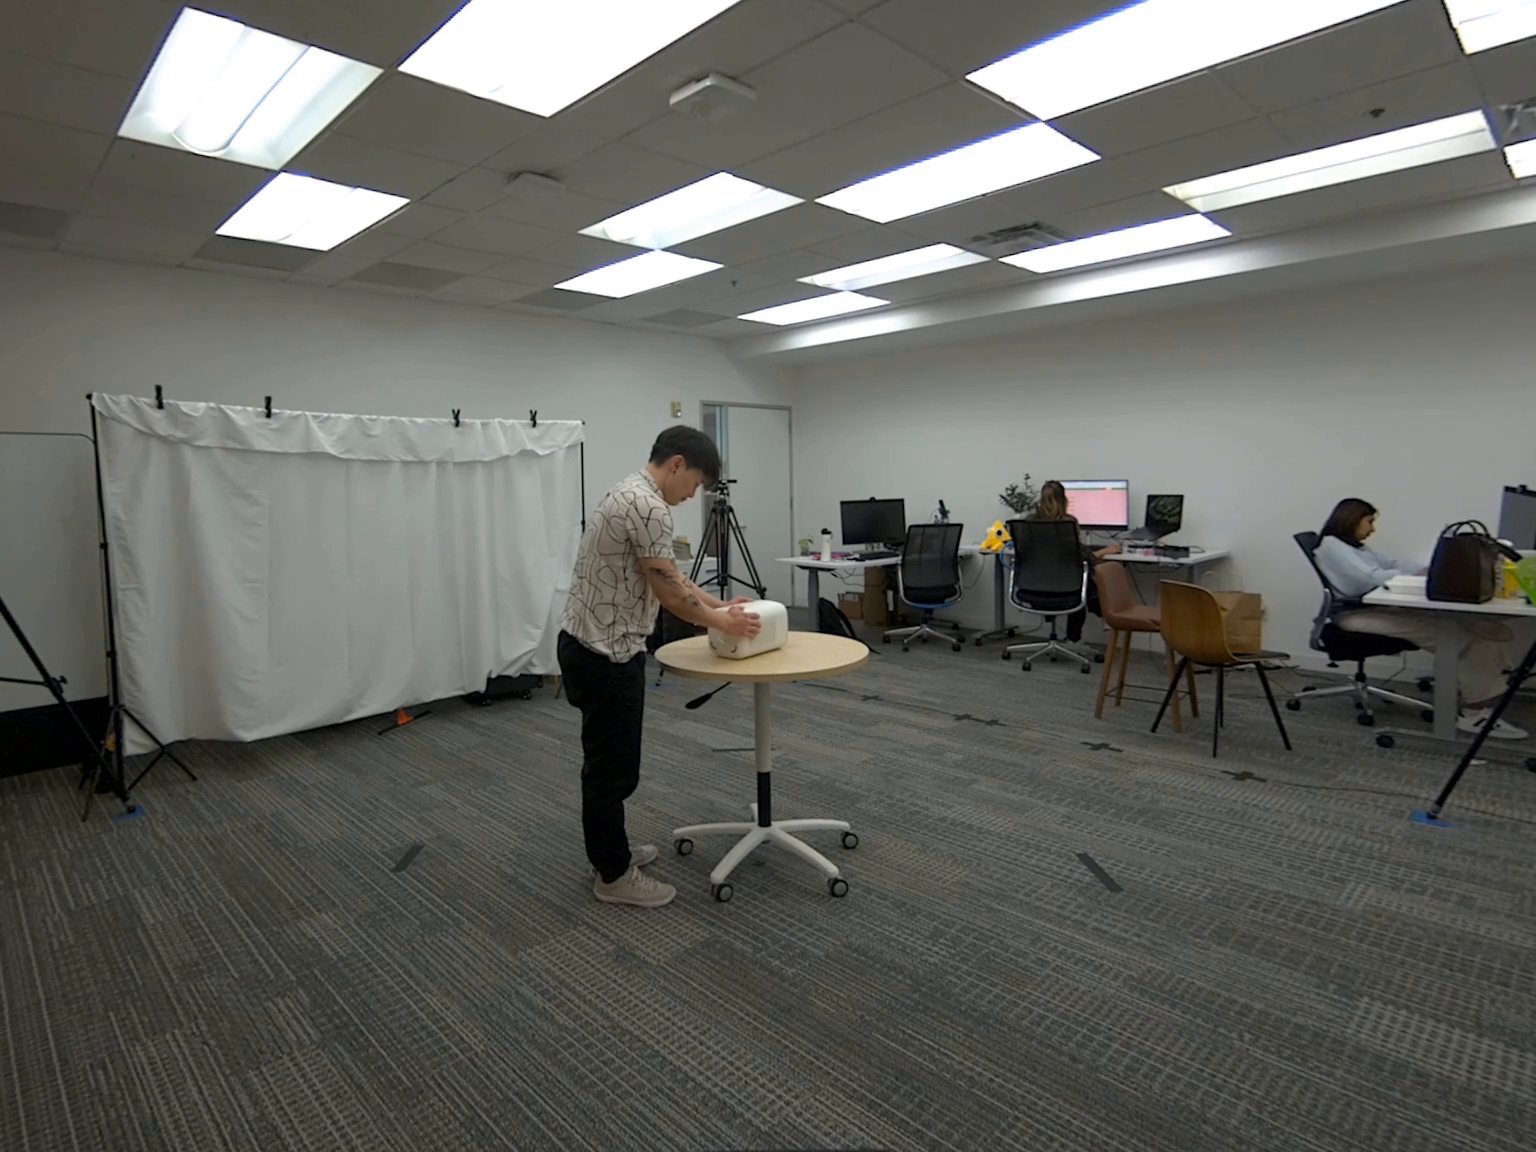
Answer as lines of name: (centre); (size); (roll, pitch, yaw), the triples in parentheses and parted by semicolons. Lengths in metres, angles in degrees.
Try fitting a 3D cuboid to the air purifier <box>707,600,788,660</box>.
air purifier: (-0.072, 0.186, 3.031); (0.176, 0.171, 0.259); (4, 8, 38)
